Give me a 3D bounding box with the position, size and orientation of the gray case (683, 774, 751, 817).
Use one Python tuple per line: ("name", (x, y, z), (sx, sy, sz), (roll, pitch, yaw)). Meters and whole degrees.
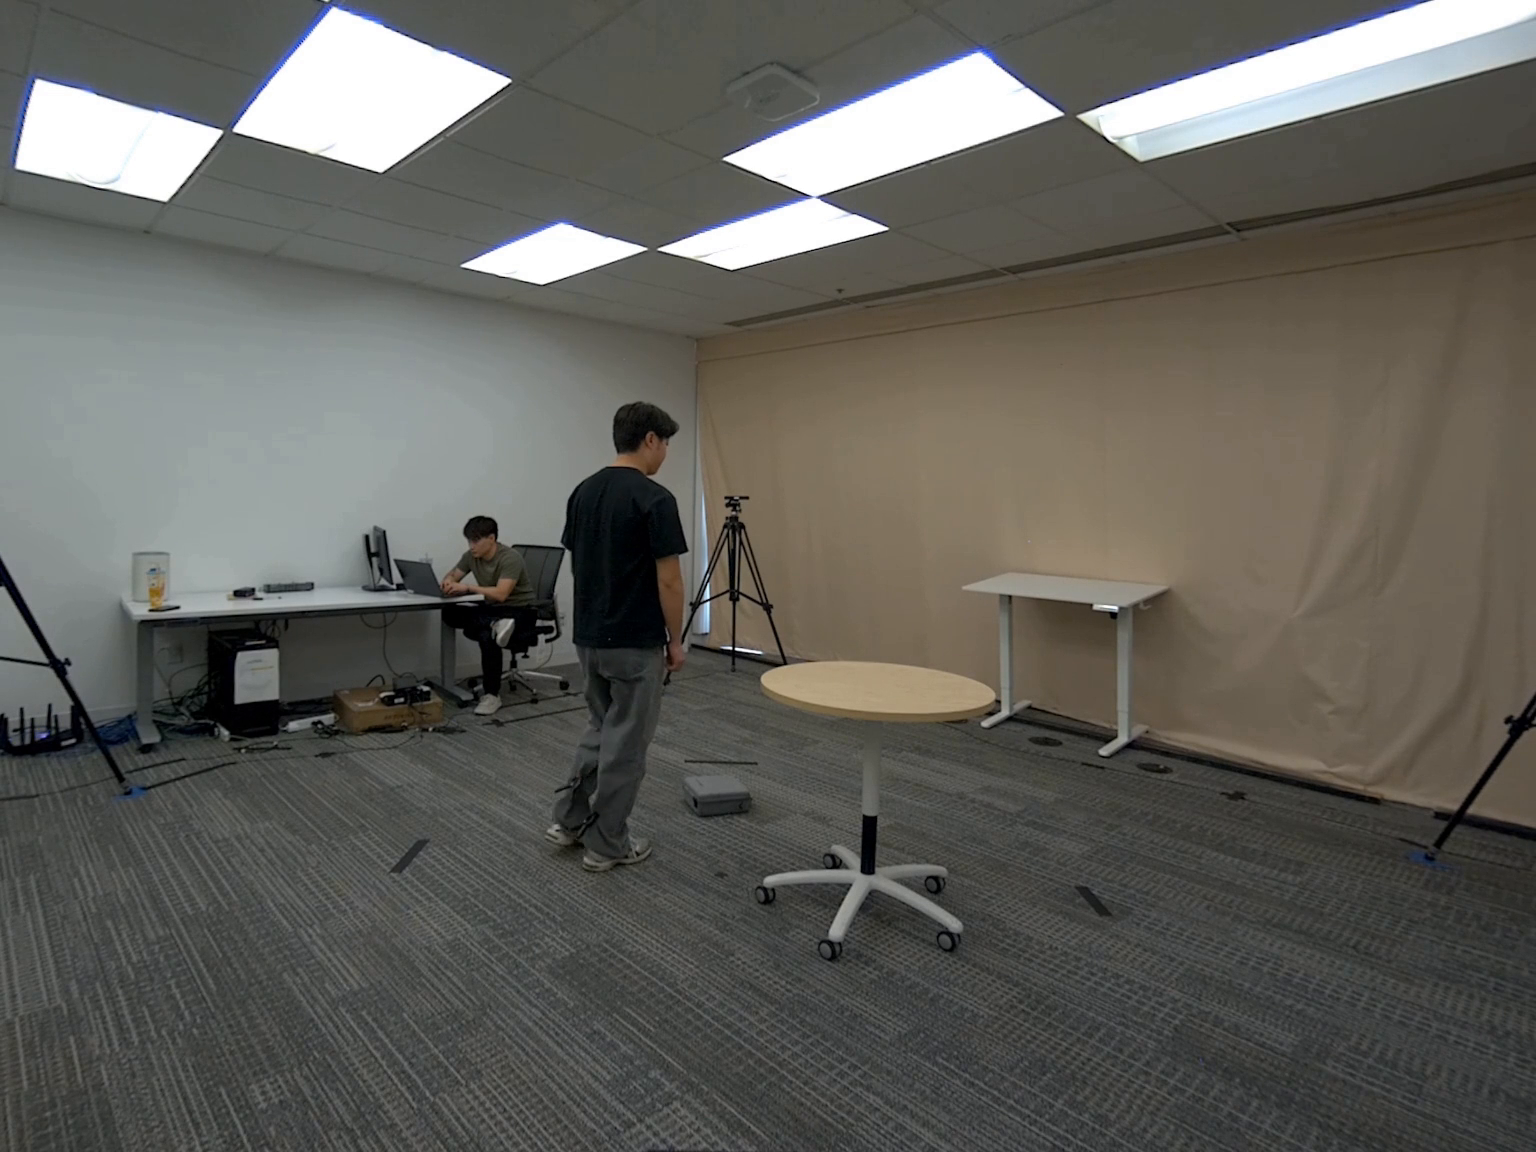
("gray case", (-0.234, 0.987, 3.813), (0.282, 0.103, 0.268), (1, 5, -21))
